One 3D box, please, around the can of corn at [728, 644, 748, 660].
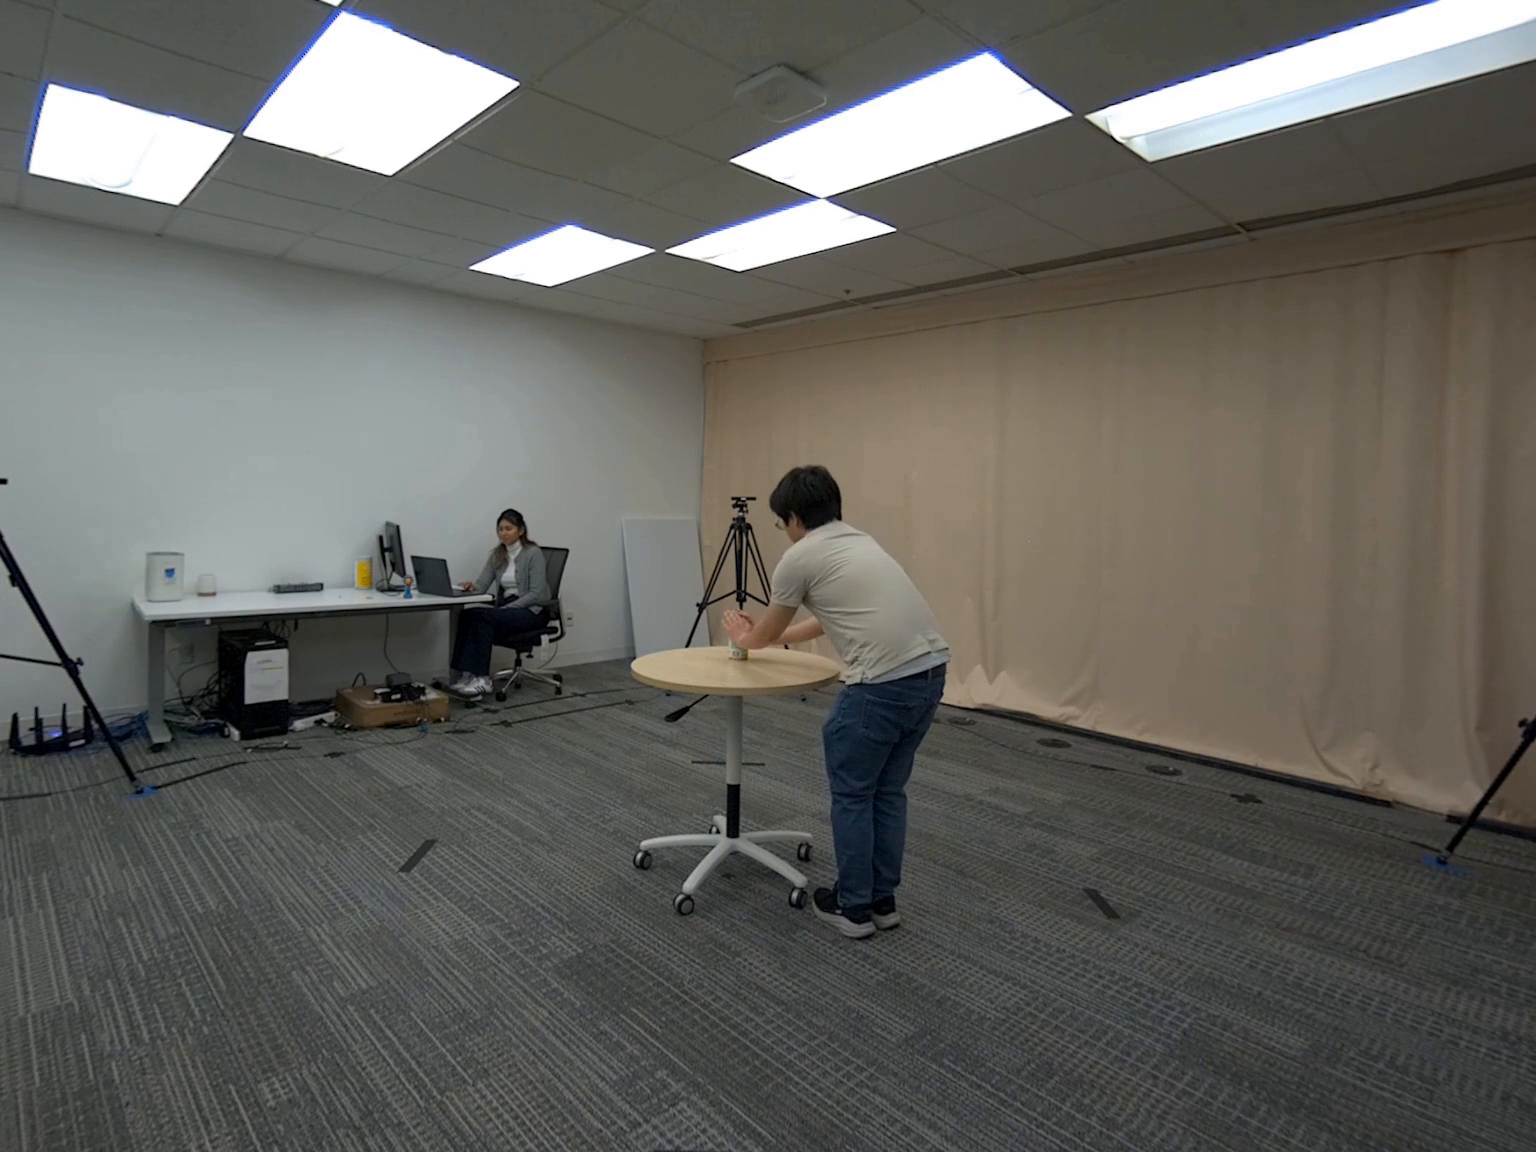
[{"bbox_3d":[-0.123,0.261,3.207,0.074,0.111,0.074,2,2,-1],"label":"can of corn"}]
